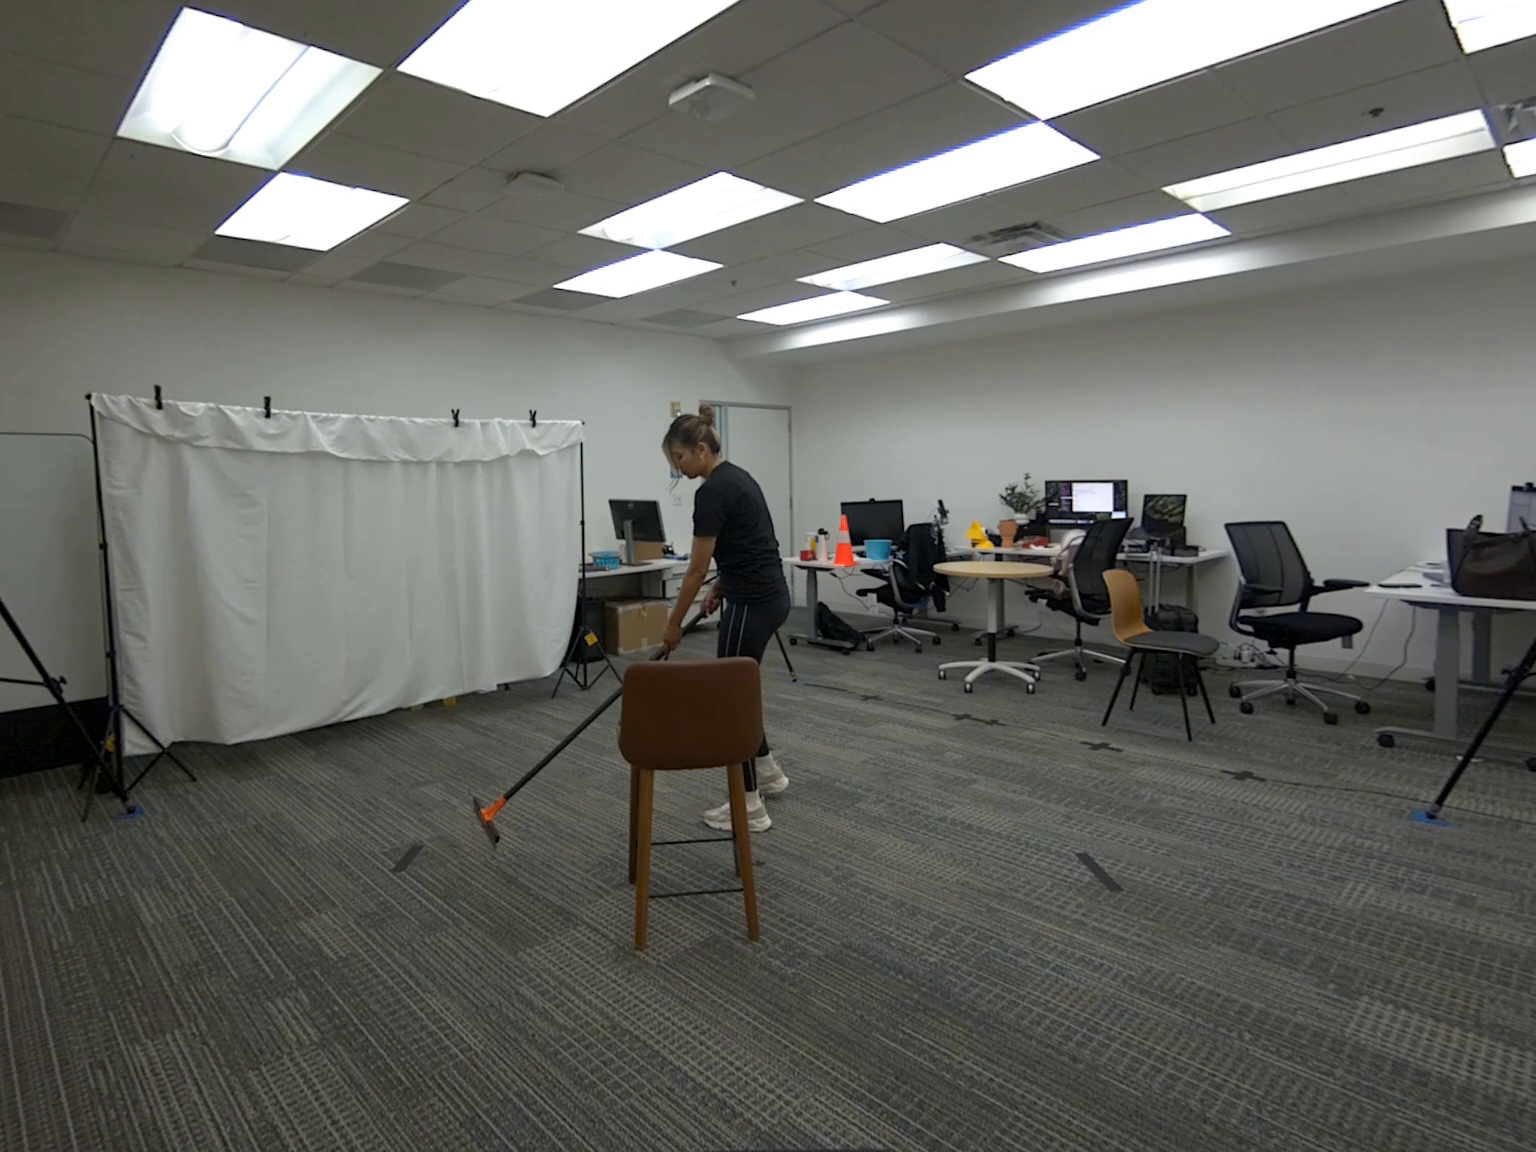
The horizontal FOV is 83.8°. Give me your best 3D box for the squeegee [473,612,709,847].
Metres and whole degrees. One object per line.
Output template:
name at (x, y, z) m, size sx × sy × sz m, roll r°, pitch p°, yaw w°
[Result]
squeegee at (-0.573, 0.431, 3.429) m, size 1.535 × 0.052 × 0.448 m, roll -44°, pitch 22°, yaw -18°
